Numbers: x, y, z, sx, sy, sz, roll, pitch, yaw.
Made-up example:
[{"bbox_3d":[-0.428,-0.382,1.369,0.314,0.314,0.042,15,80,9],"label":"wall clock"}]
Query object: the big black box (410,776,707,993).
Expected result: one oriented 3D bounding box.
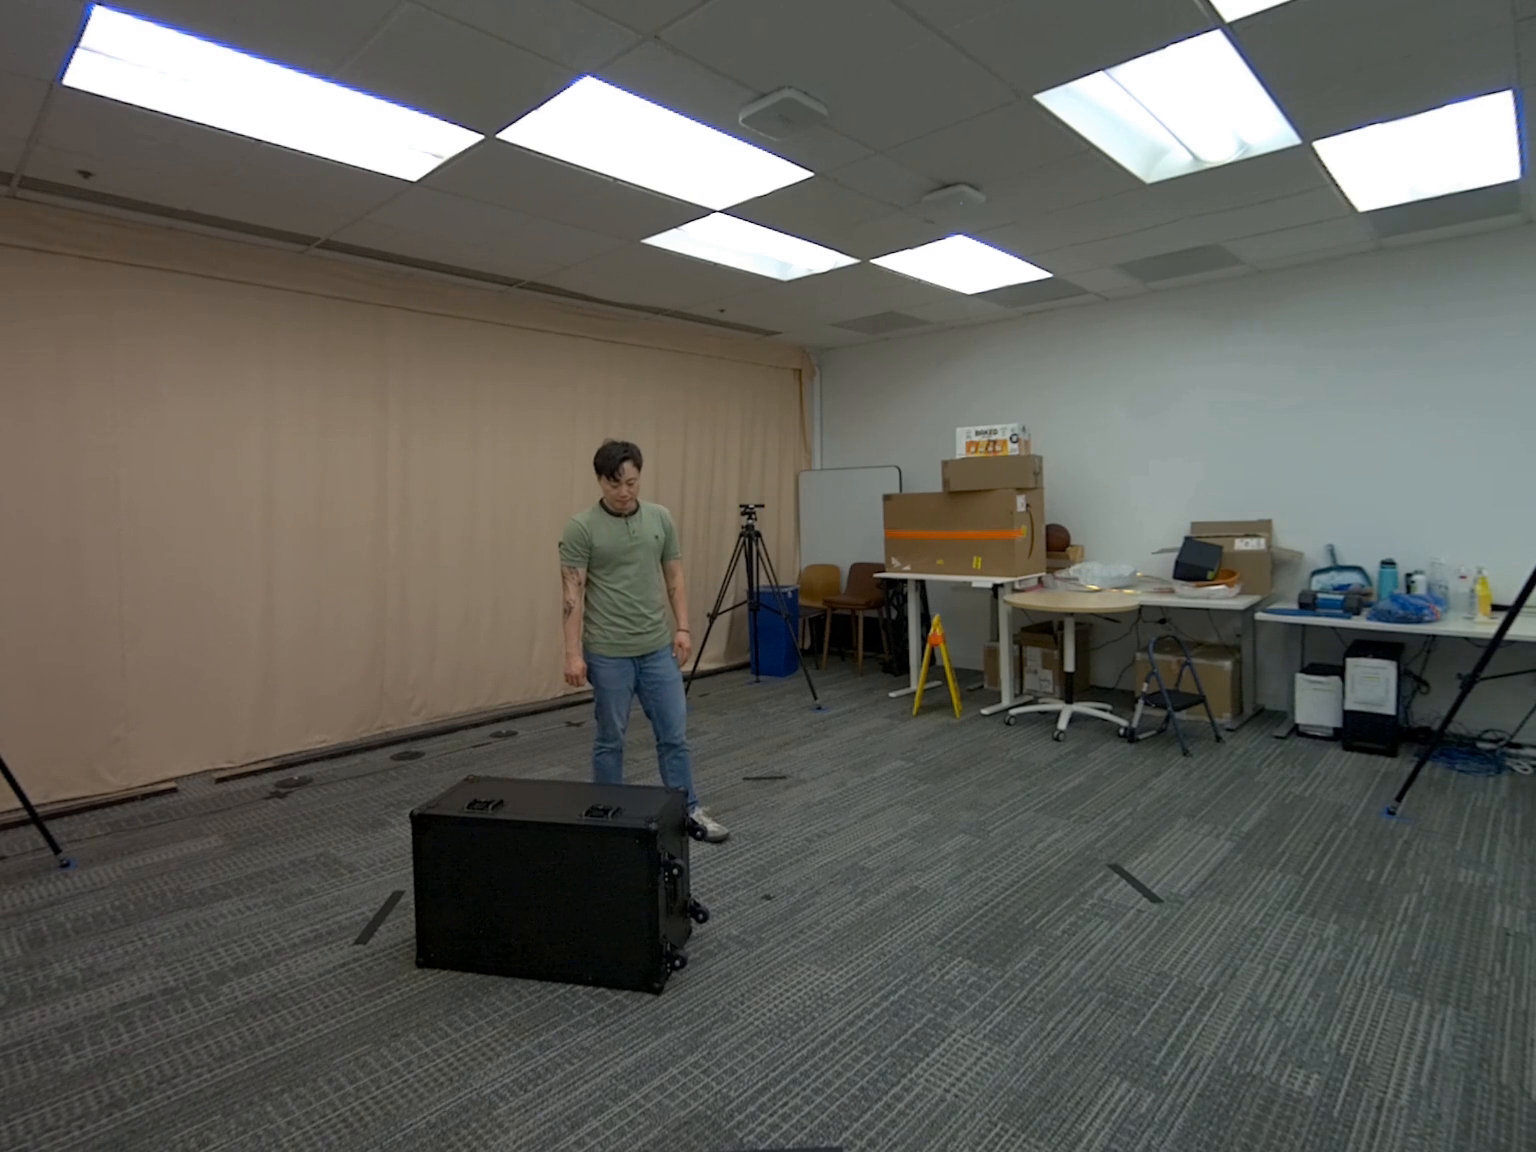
[{"bbox_3d":[-0.688,0.928,2.665,0.873,0.520,0.392,0,3,12],"label":"big black box"}]
